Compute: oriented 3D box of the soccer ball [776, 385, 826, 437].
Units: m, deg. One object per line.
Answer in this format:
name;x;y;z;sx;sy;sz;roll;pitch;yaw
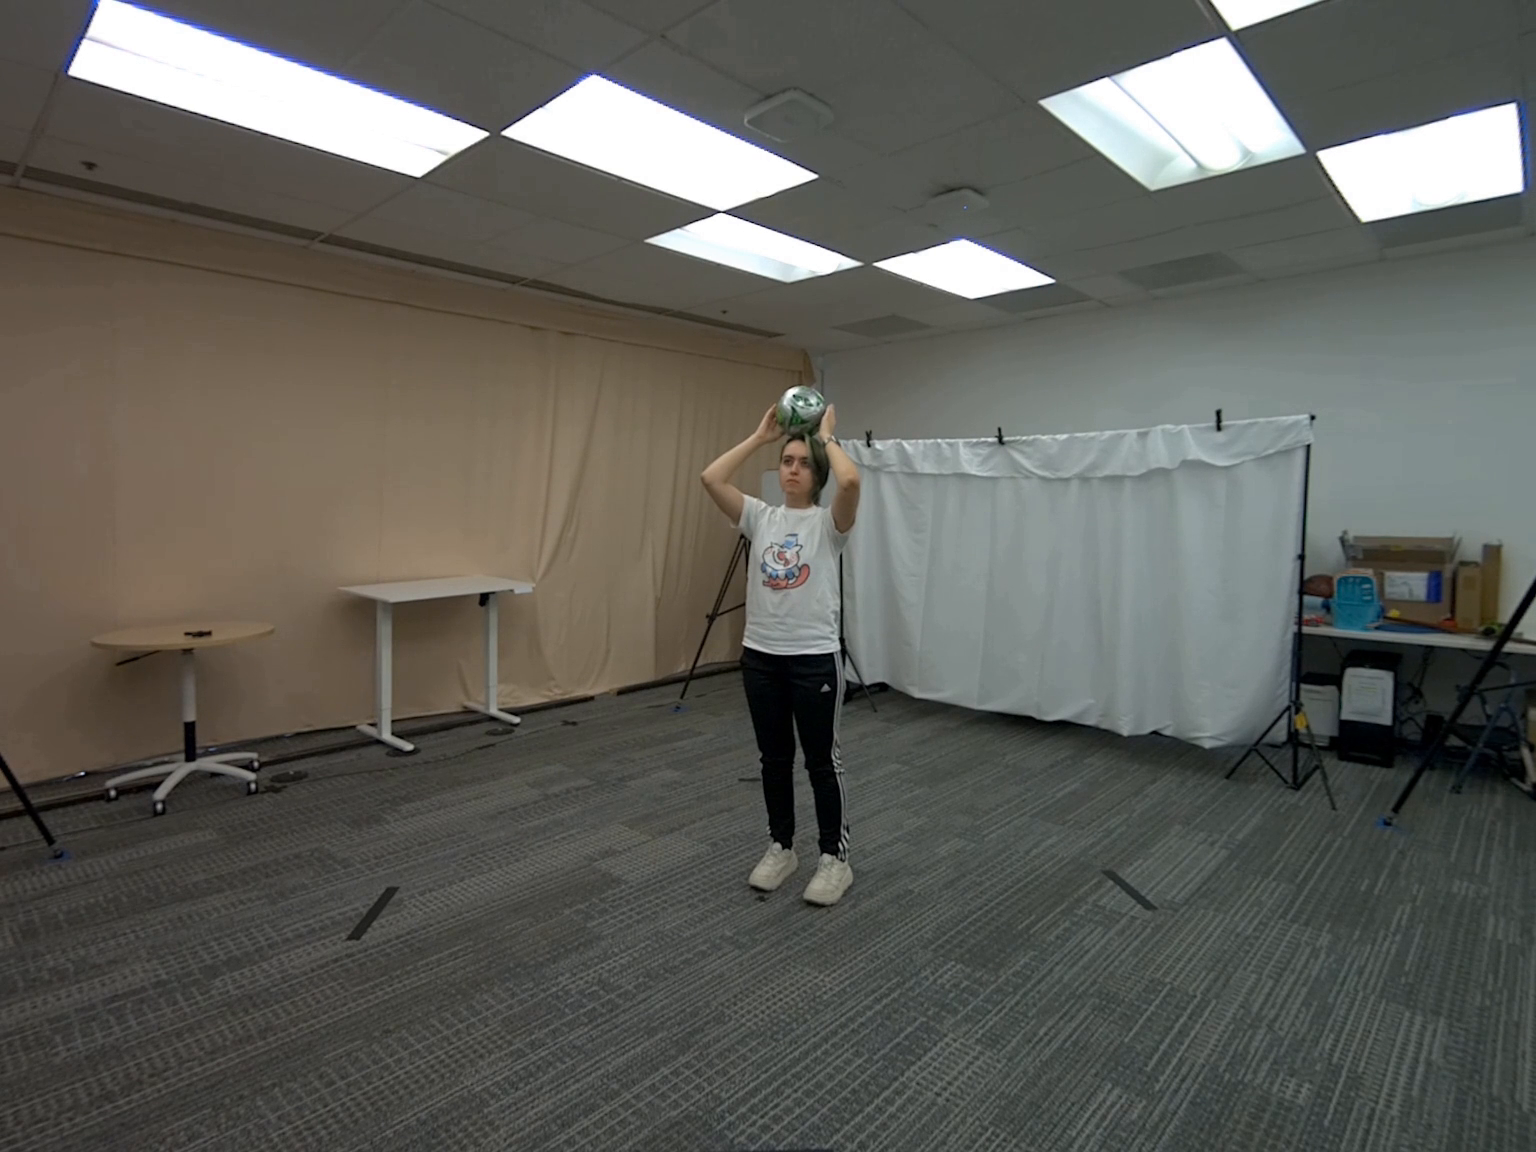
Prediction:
soccer ball;0.129;-0.589;3.037;0.187;0.187;0.188;0;4;-2
